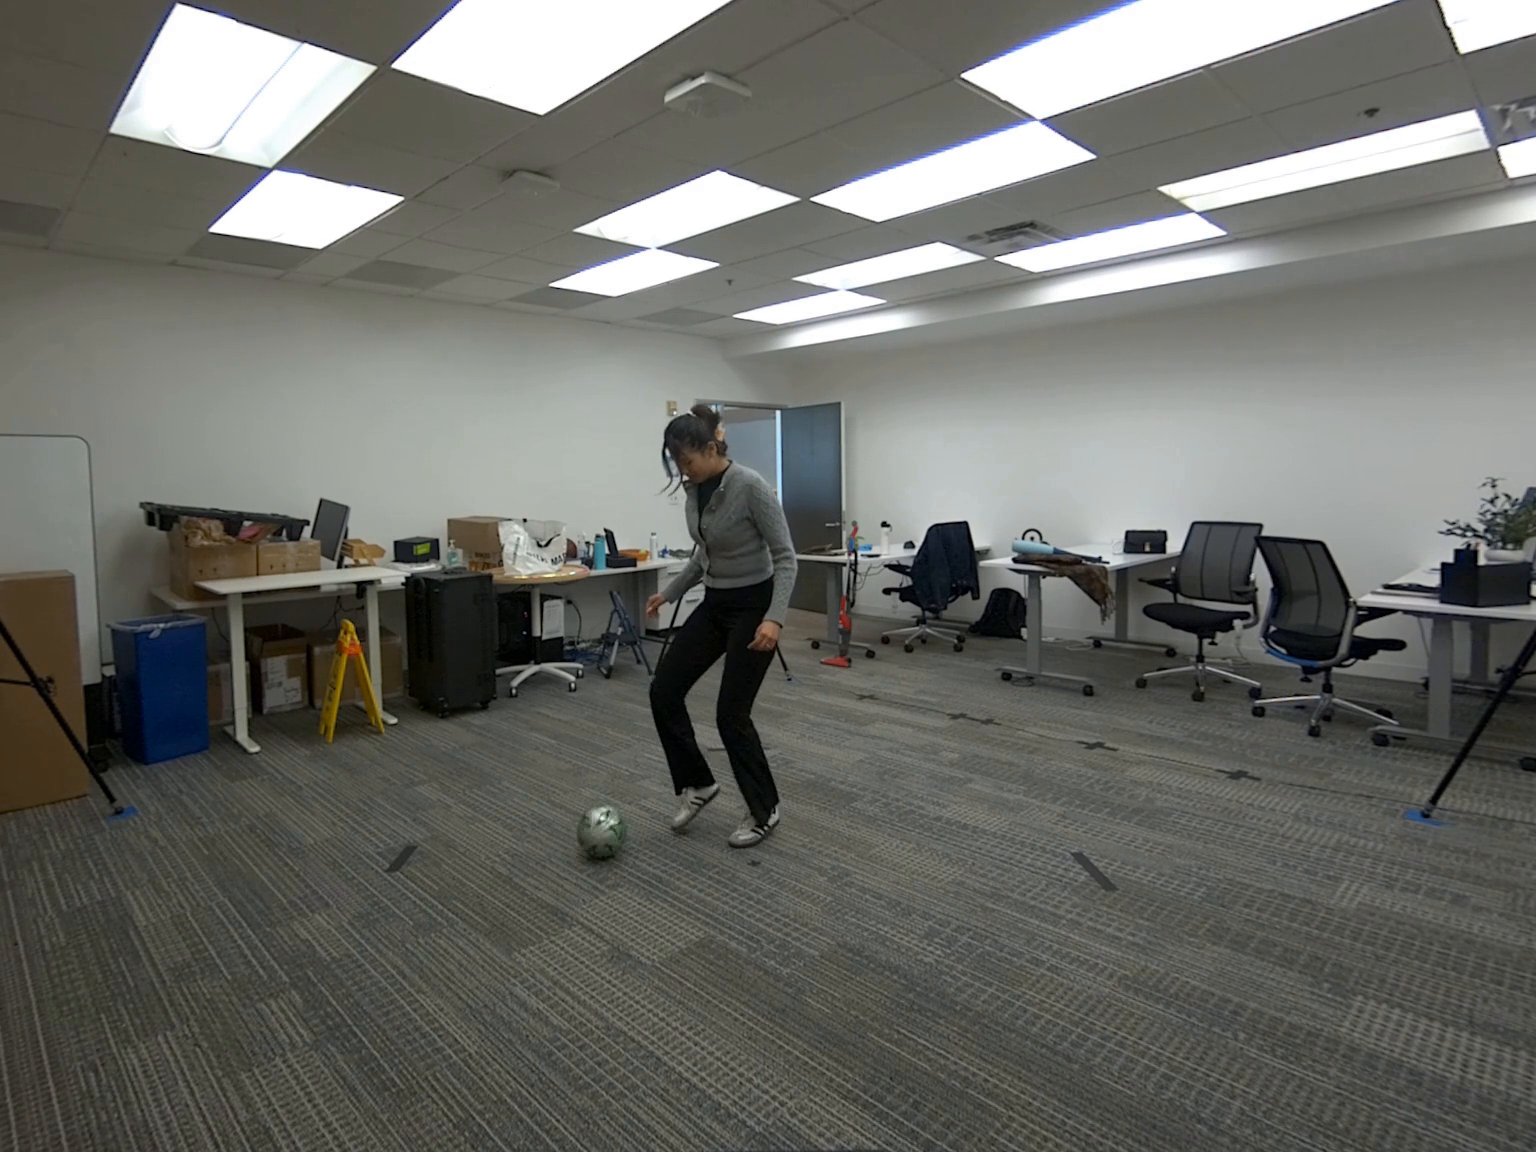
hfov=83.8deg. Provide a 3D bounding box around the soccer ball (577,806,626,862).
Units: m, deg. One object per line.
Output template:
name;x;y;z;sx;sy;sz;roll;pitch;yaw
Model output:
soccer ball;-0.618;0.954;3.178;0.187;0.187;0.188;-1;5;-2
